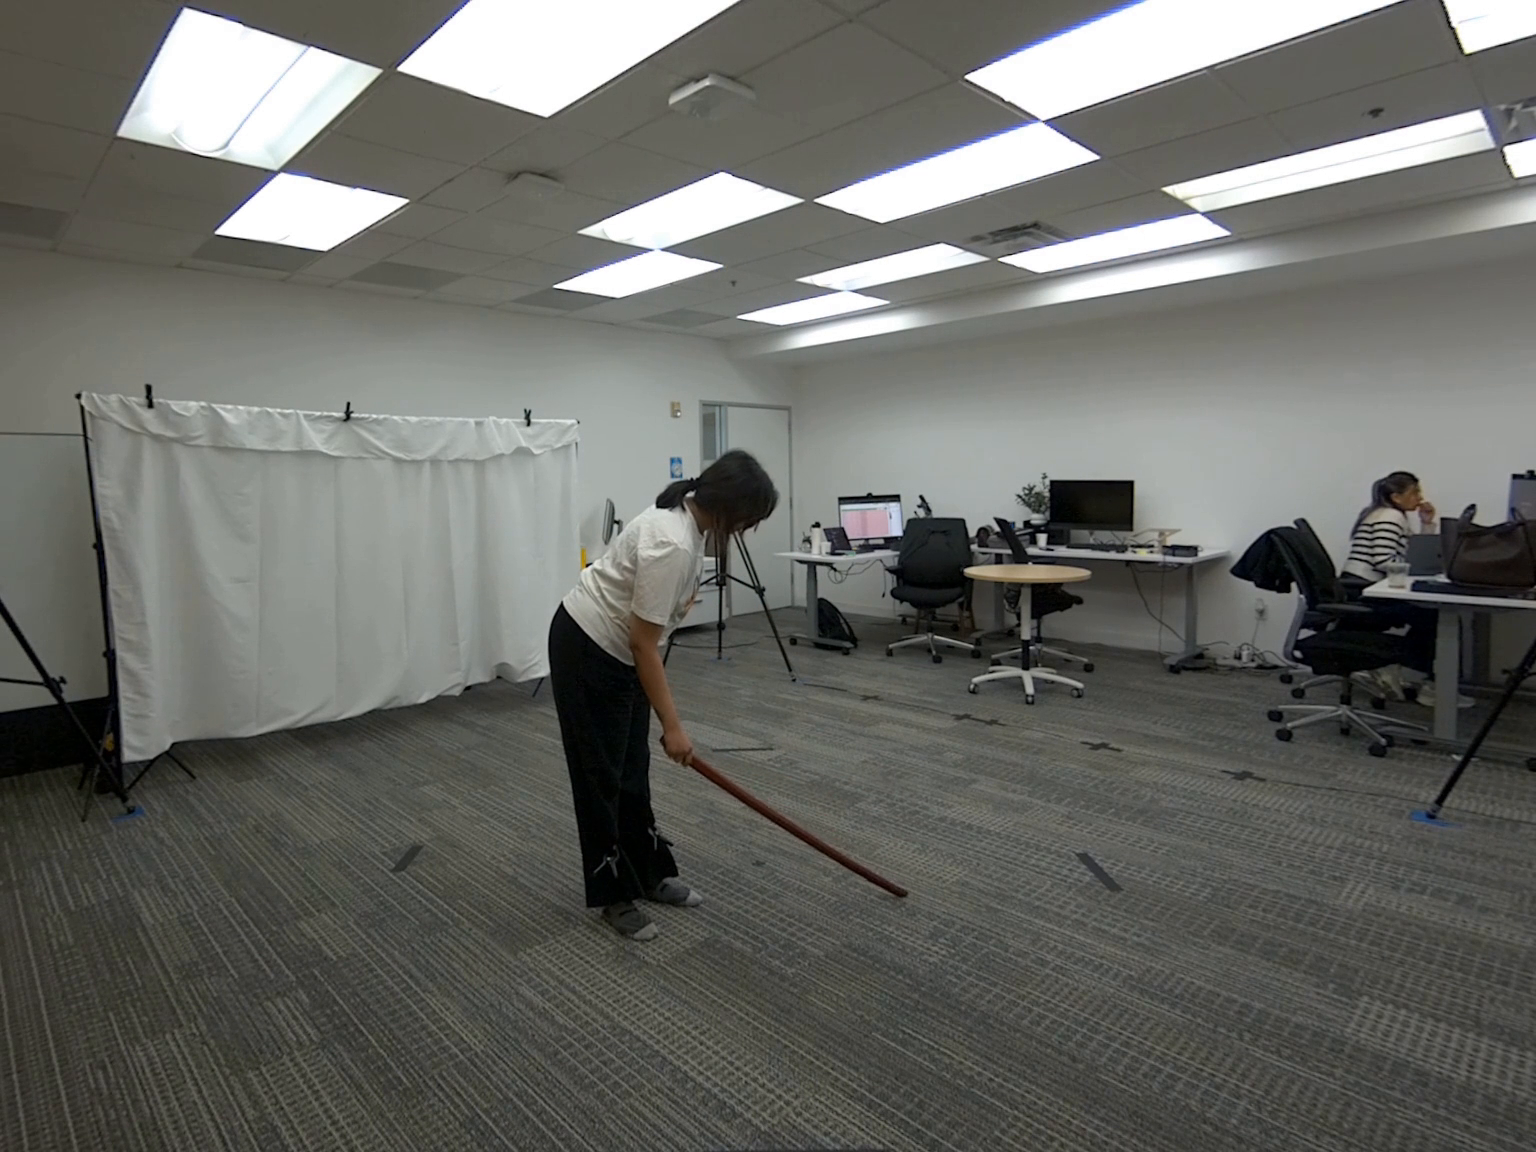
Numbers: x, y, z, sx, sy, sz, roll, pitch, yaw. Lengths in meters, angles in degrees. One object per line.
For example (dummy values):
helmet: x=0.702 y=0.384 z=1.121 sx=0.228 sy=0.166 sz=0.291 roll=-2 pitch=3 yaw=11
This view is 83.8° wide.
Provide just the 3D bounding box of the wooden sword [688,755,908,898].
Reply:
wooden sword: x=0.071 y=0.774 z=2.720 sx=1.003 sy=0.024 sz=0.052 roll=35 pitch=-13 yaw=-16
